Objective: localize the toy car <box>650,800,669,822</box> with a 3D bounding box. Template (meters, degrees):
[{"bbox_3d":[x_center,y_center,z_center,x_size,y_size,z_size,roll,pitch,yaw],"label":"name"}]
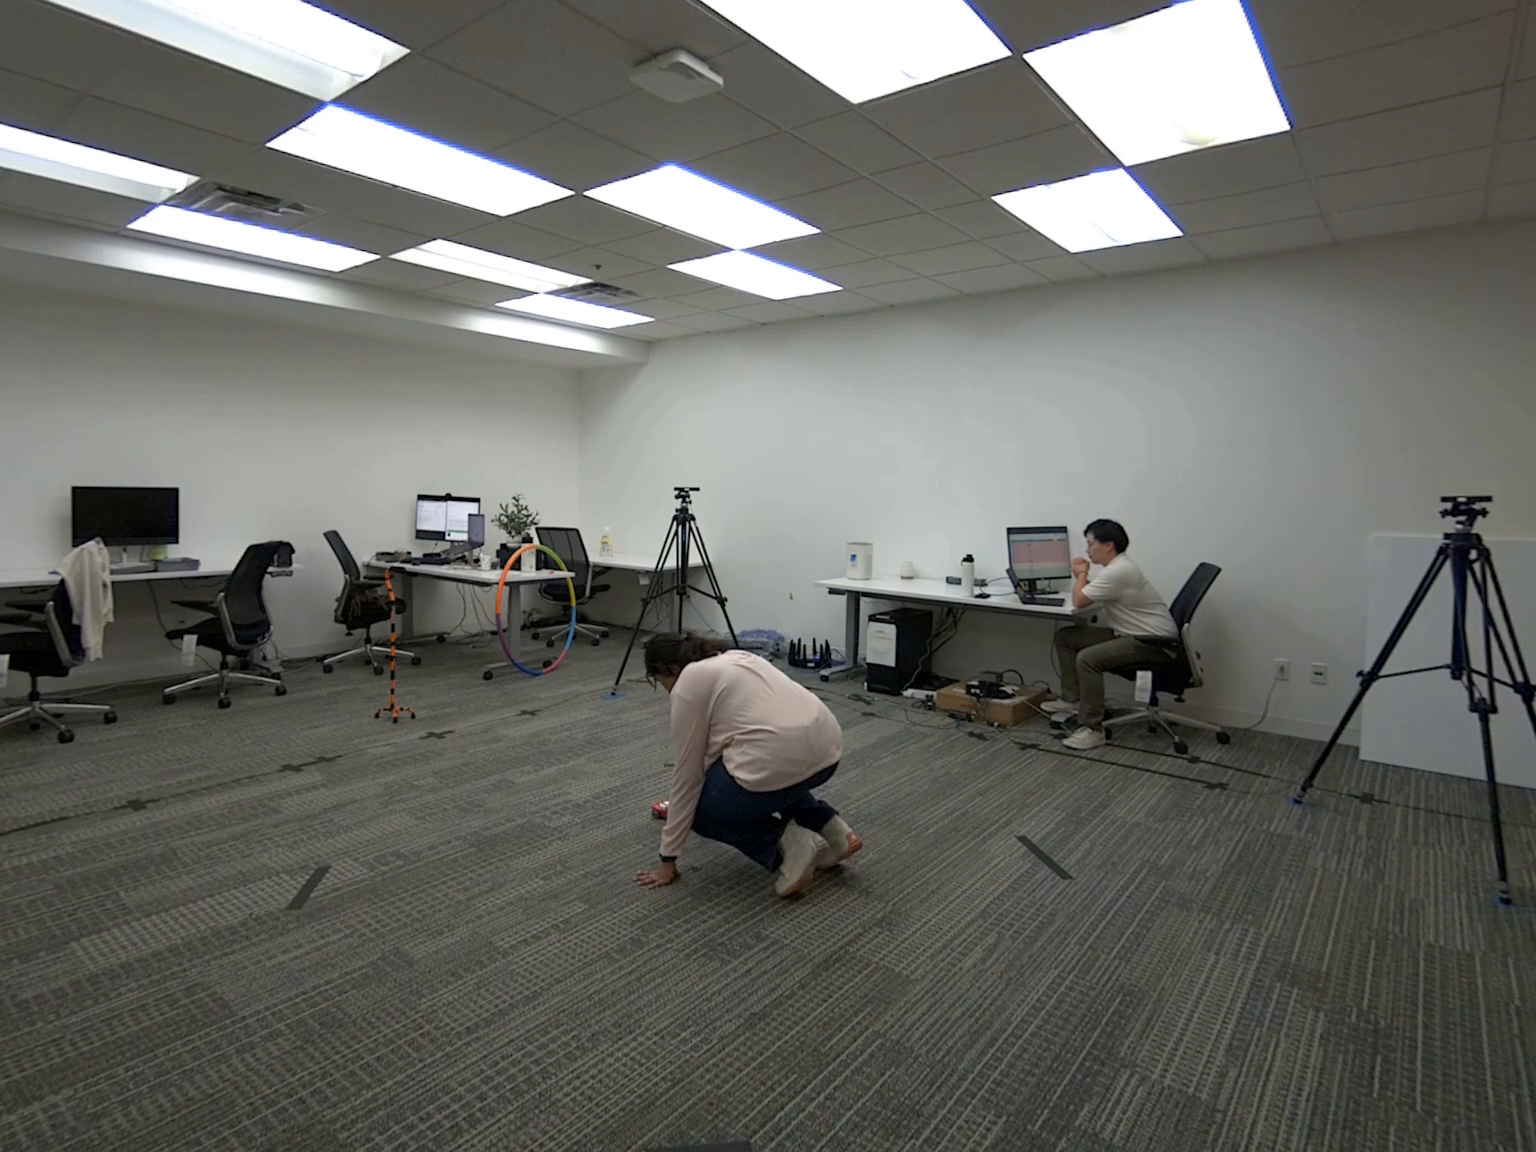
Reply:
[{"bbox_3d":[-0.372,0.986,3.564,0.261,0.083,0.127,-7,-1,32],"label":"toy car"}]
